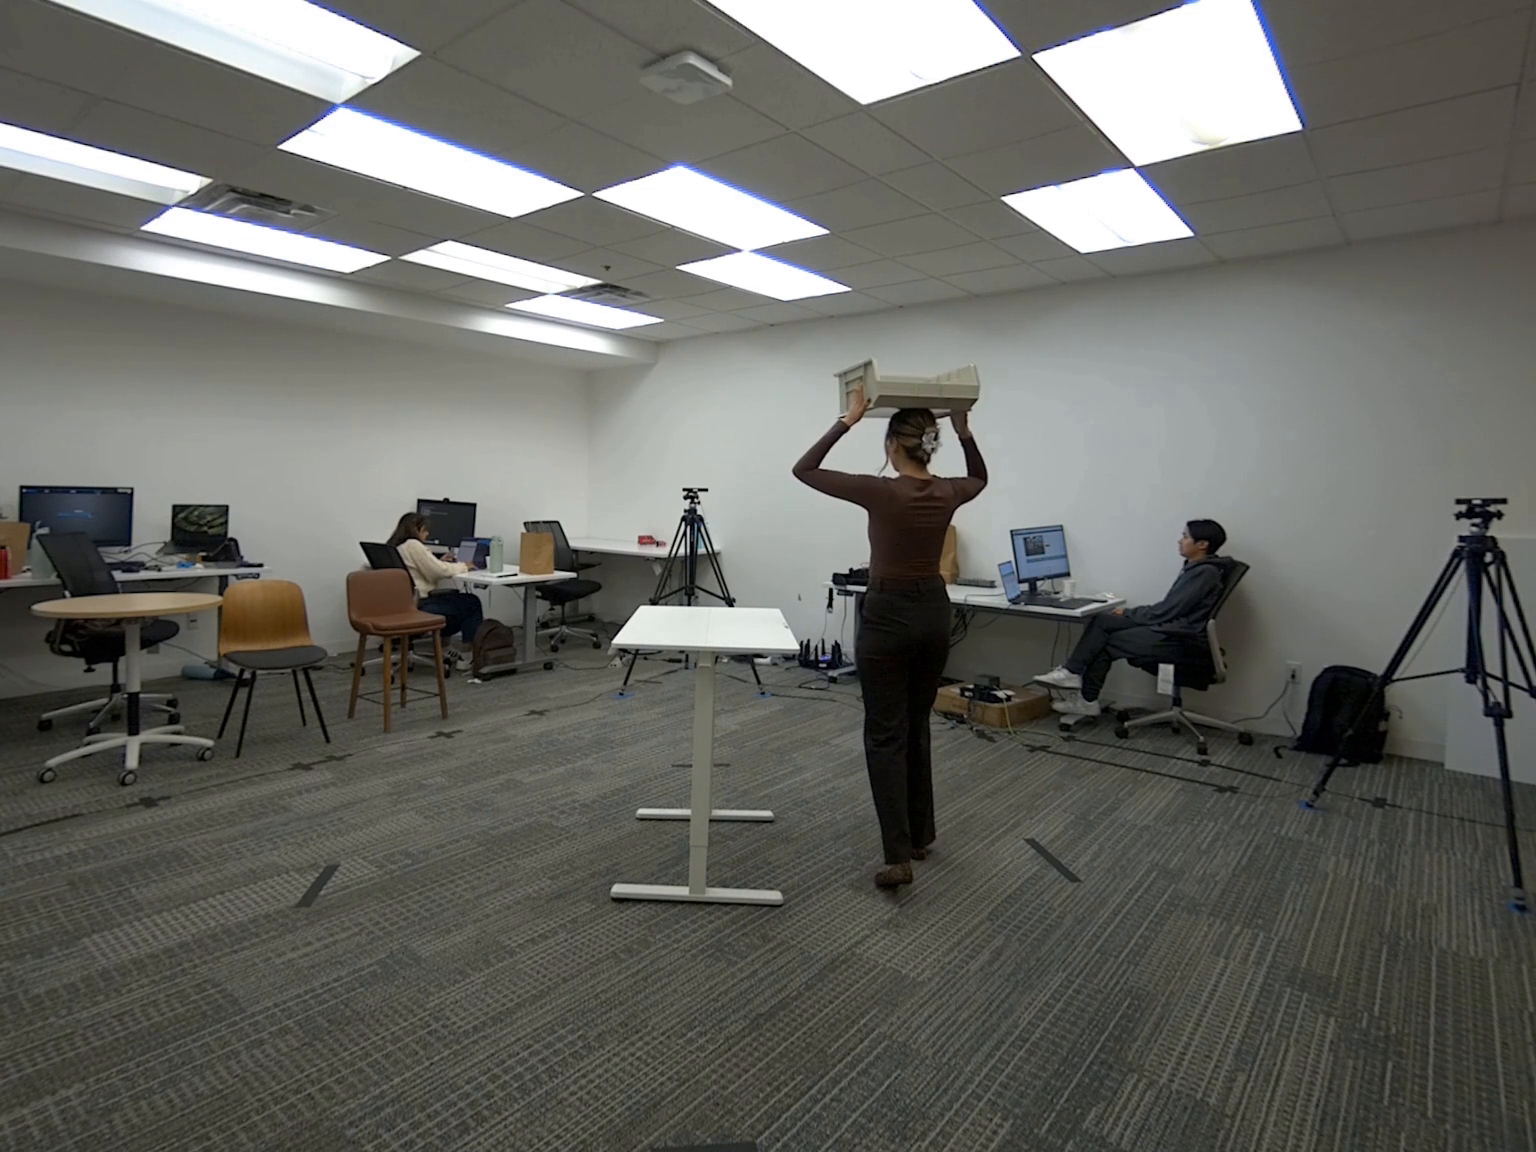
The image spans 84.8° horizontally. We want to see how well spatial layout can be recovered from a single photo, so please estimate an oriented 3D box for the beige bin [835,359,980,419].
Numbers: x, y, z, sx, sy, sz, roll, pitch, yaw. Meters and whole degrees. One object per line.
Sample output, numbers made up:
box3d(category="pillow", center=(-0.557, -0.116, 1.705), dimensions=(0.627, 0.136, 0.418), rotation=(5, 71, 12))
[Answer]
box3d(category="beige bin", center=(0.517, -0.715, 3.235), dimensions=(0.415, 0.189, 0.384), rotation=(-2, 1, -17))
